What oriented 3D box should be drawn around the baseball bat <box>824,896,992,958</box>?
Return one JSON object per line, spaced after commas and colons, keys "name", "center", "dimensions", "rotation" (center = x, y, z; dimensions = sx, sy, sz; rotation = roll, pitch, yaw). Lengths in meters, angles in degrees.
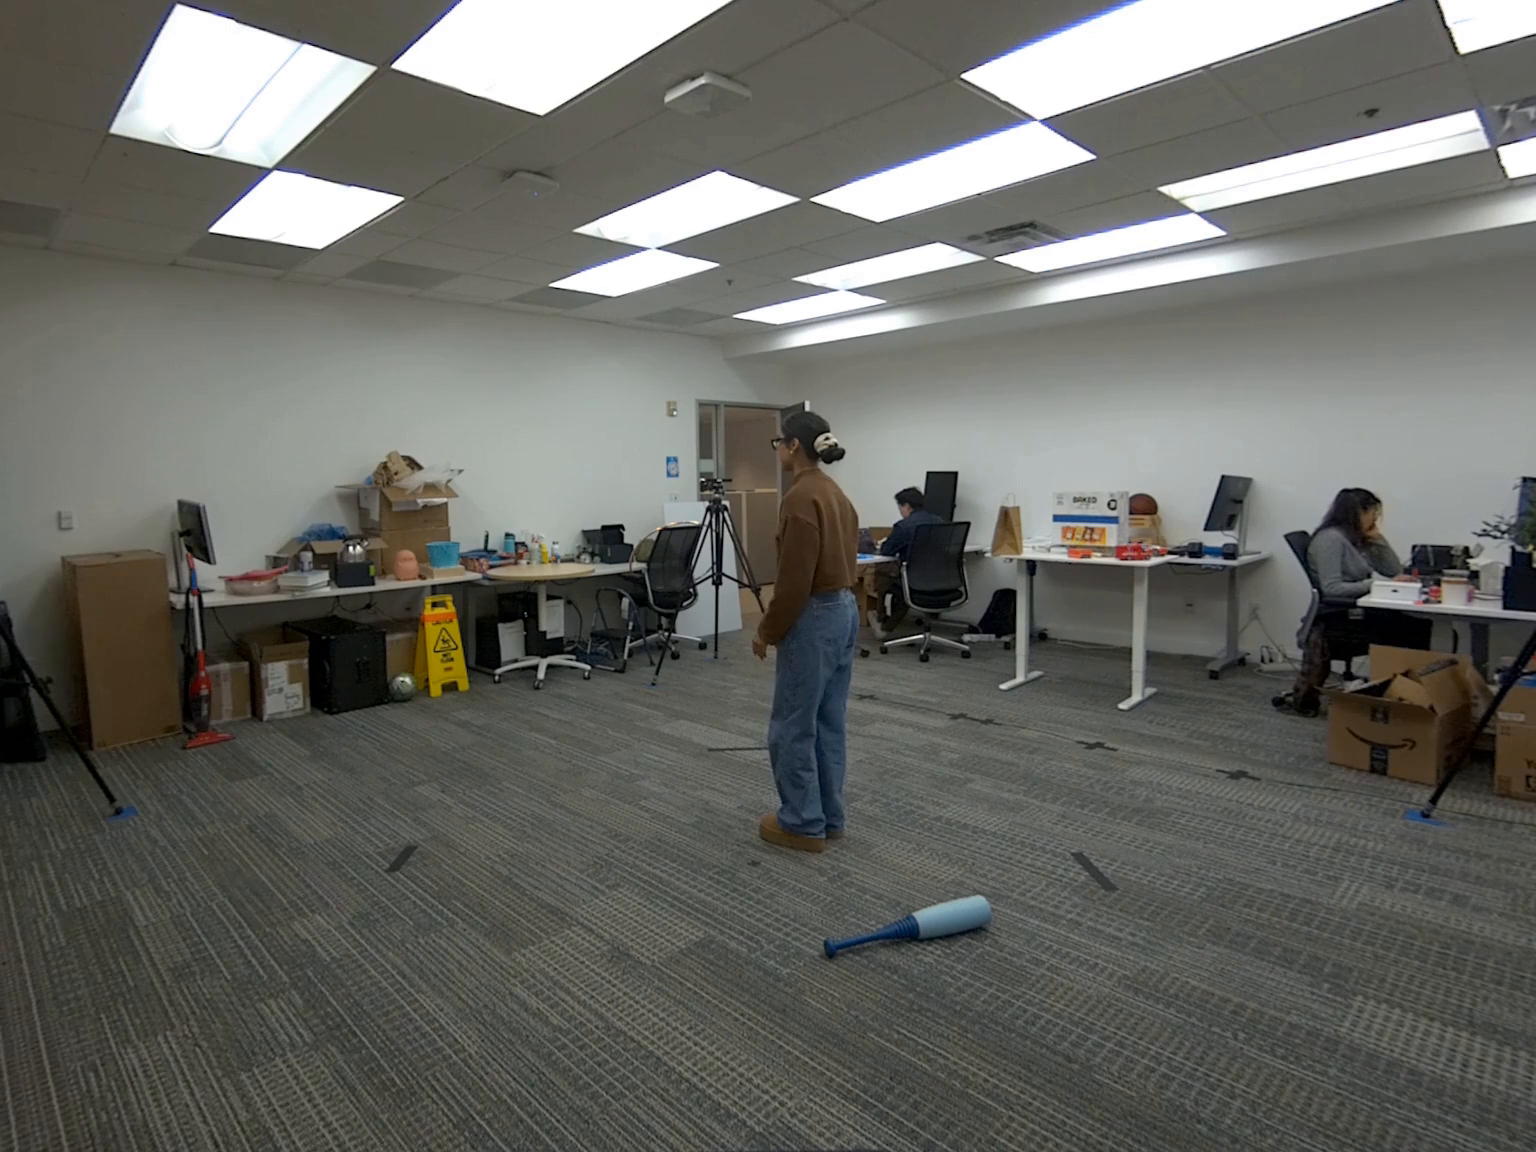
{"name": "baseball bat", "center": [0.424, 1.060, 2.576], "dimensions": [0.536, 0.088, 0.090], "rotation": [-6, 6, -14]}
